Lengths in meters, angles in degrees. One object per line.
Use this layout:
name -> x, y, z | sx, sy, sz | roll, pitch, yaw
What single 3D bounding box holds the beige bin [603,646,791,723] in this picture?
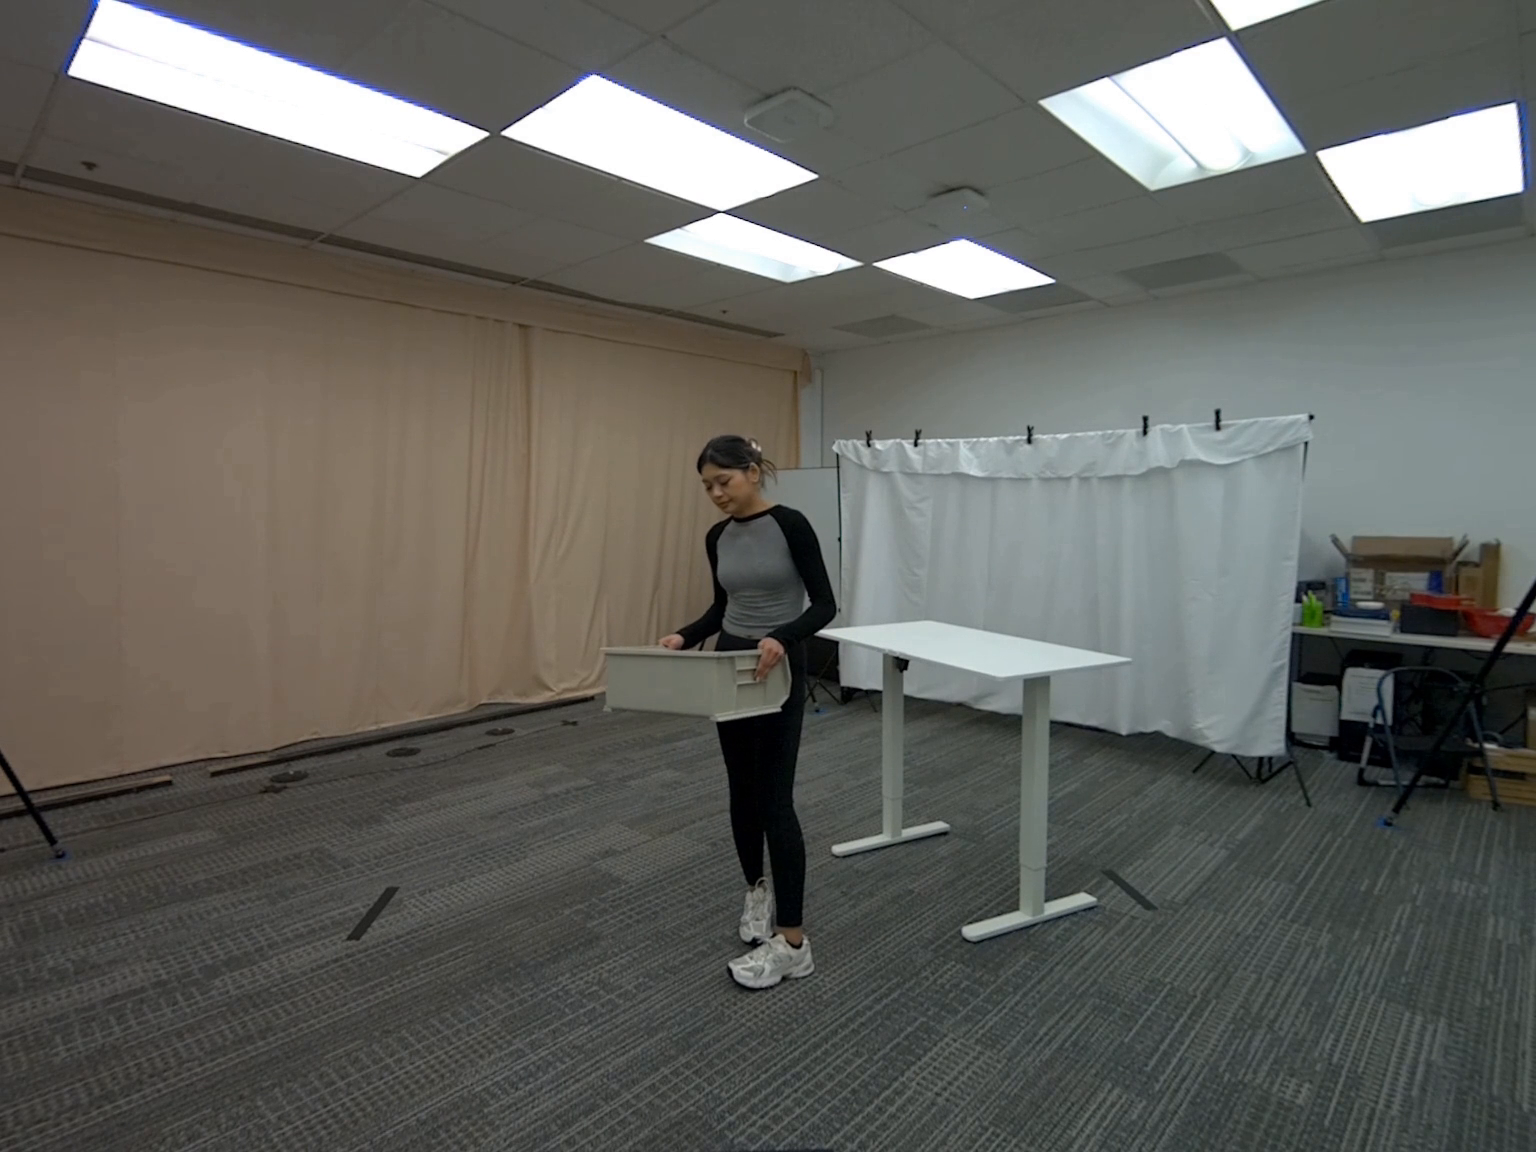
beige bin -> -0.202, 0.296, 2.442 | 0.435, 0.189, 0.366 | -1, -1, 35
